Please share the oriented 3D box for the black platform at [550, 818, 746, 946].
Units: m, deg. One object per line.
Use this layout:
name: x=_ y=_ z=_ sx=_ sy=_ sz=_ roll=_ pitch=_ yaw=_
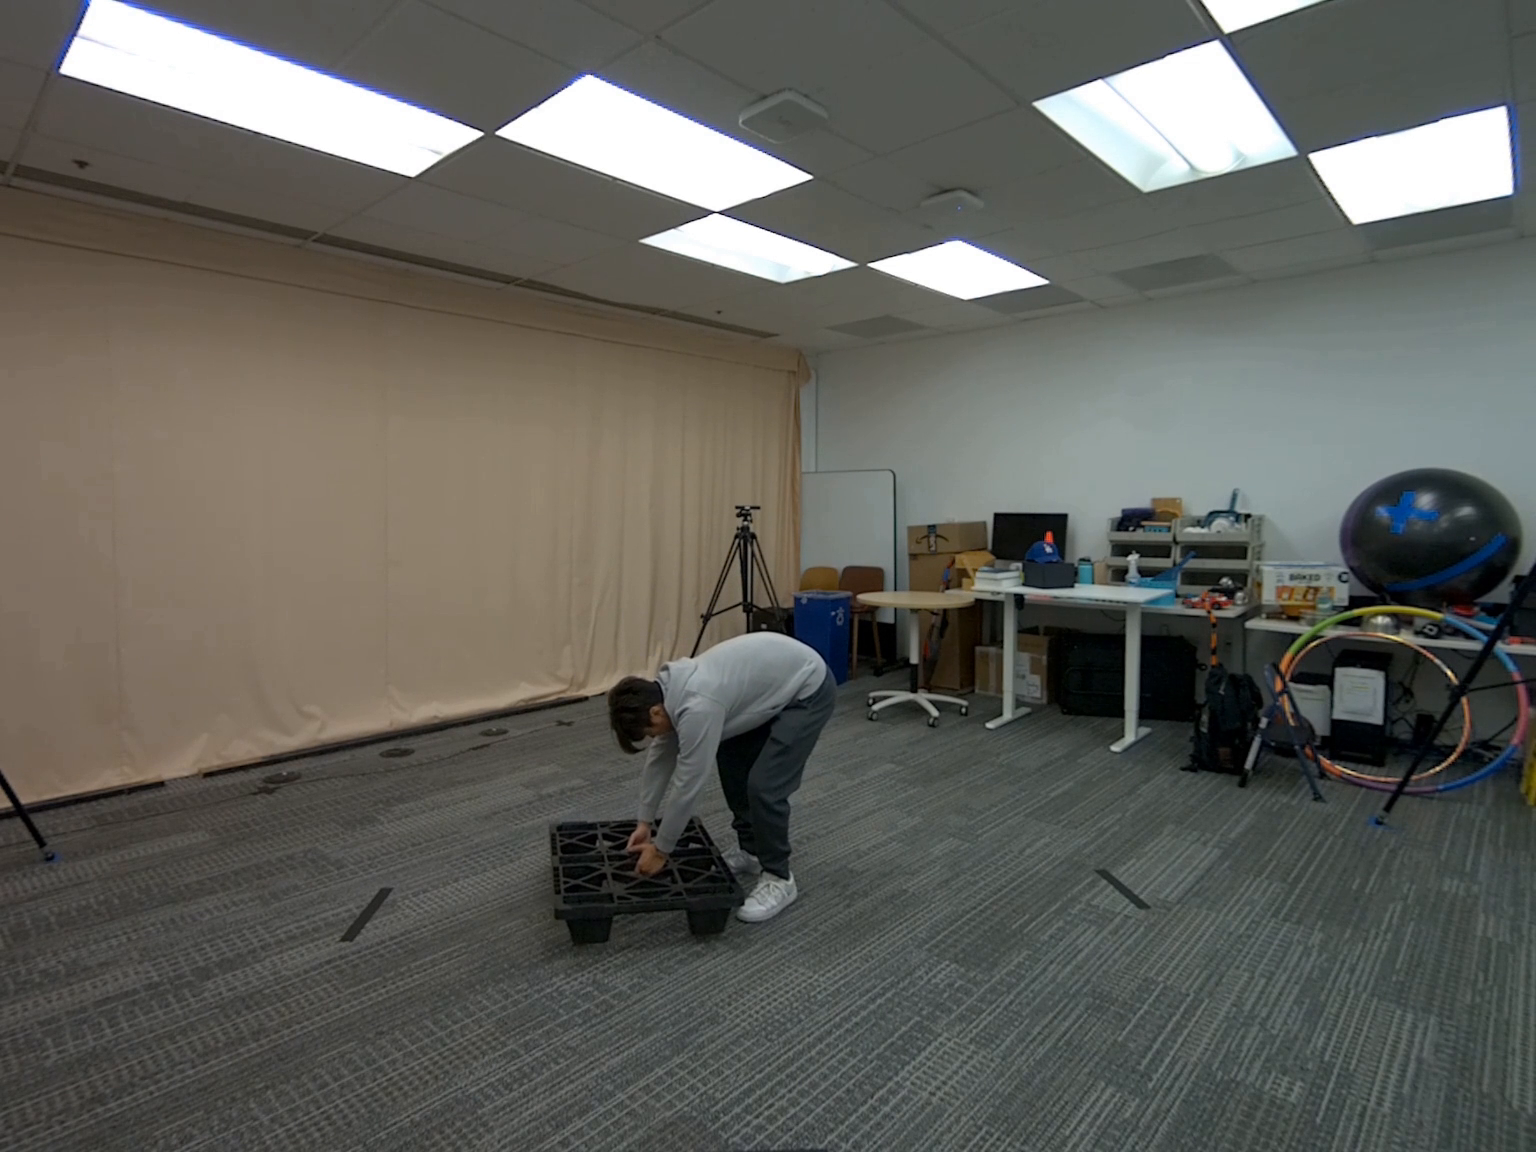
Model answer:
black platform: x=-0.468 y=1.058 z=2.981 sx=0.597 sy=0.143 sz=0.818 roll=0 pitch=3 yaw=-14
